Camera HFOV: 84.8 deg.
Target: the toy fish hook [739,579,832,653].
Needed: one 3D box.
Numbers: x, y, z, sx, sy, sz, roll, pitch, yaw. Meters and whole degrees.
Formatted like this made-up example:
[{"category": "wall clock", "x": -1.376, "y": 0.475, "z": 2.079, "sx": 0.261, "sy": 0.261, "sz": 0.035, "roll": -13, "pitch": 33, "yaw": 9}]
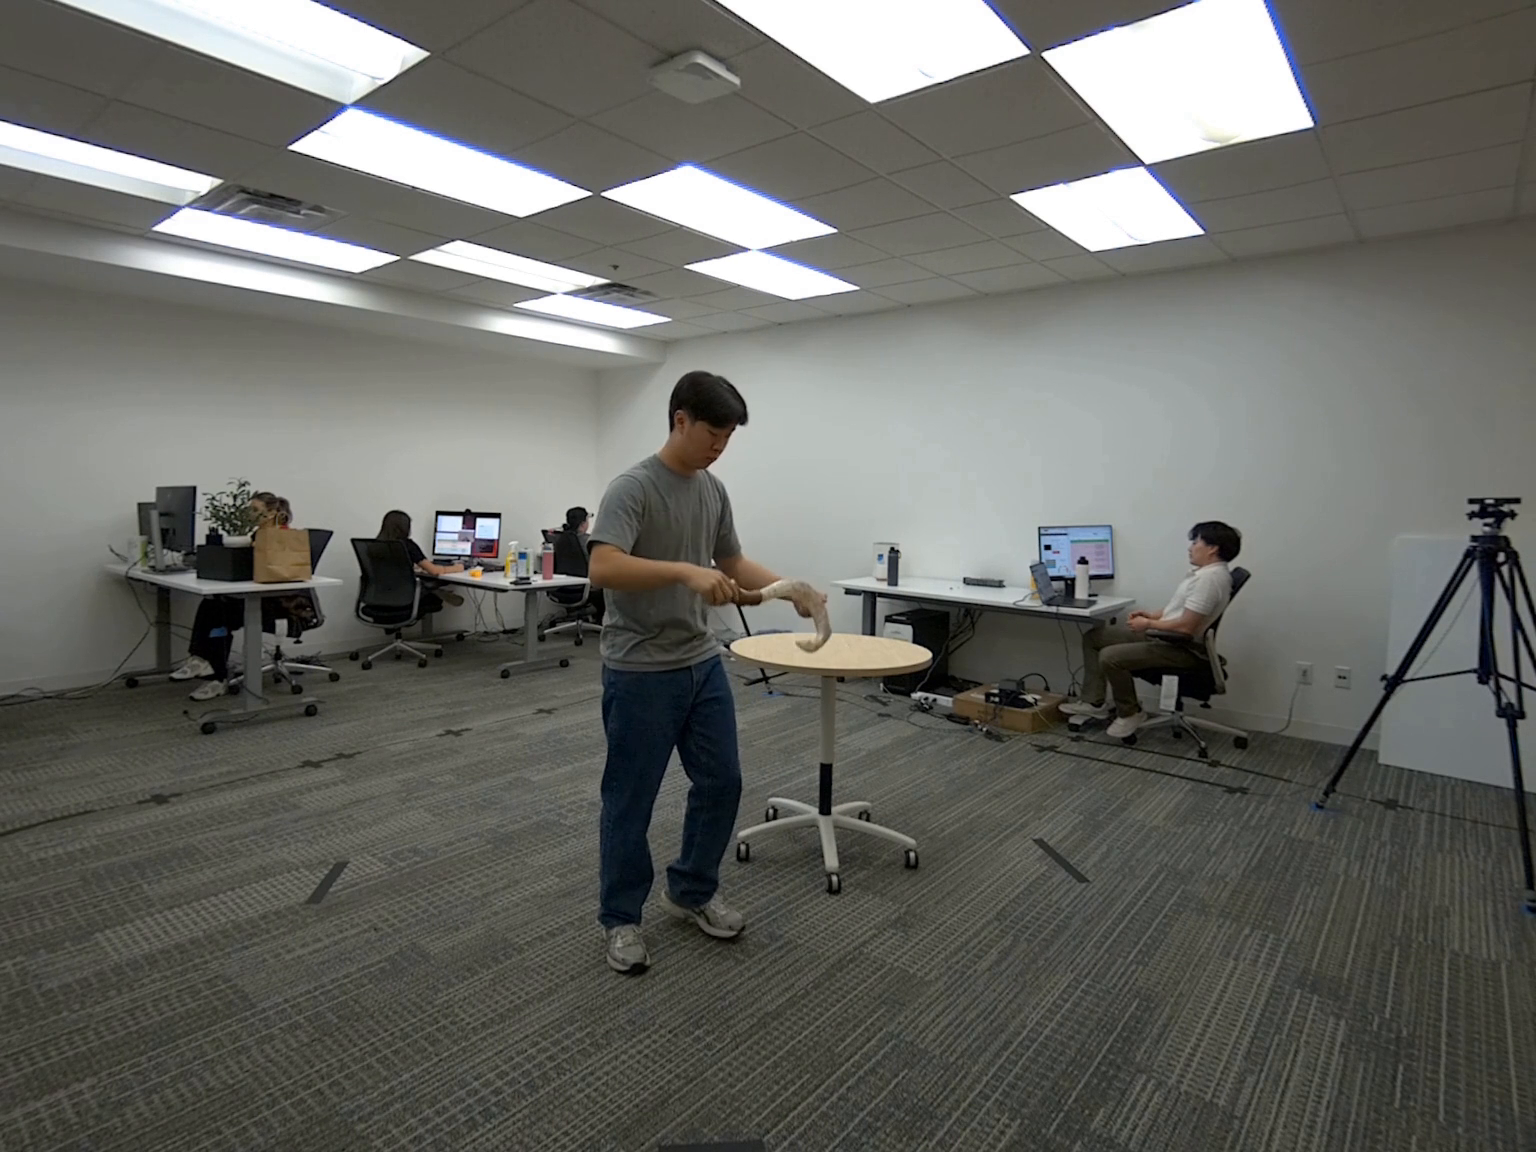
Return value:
[{"category": "toy fish hook", "x": 0.011, "y": 0.105, "z": 2.337, "sx": 0.048, "sy": 0.231, "sz": 0.490, "roll": -39, "pitch": -26, "yaw": 32}]
